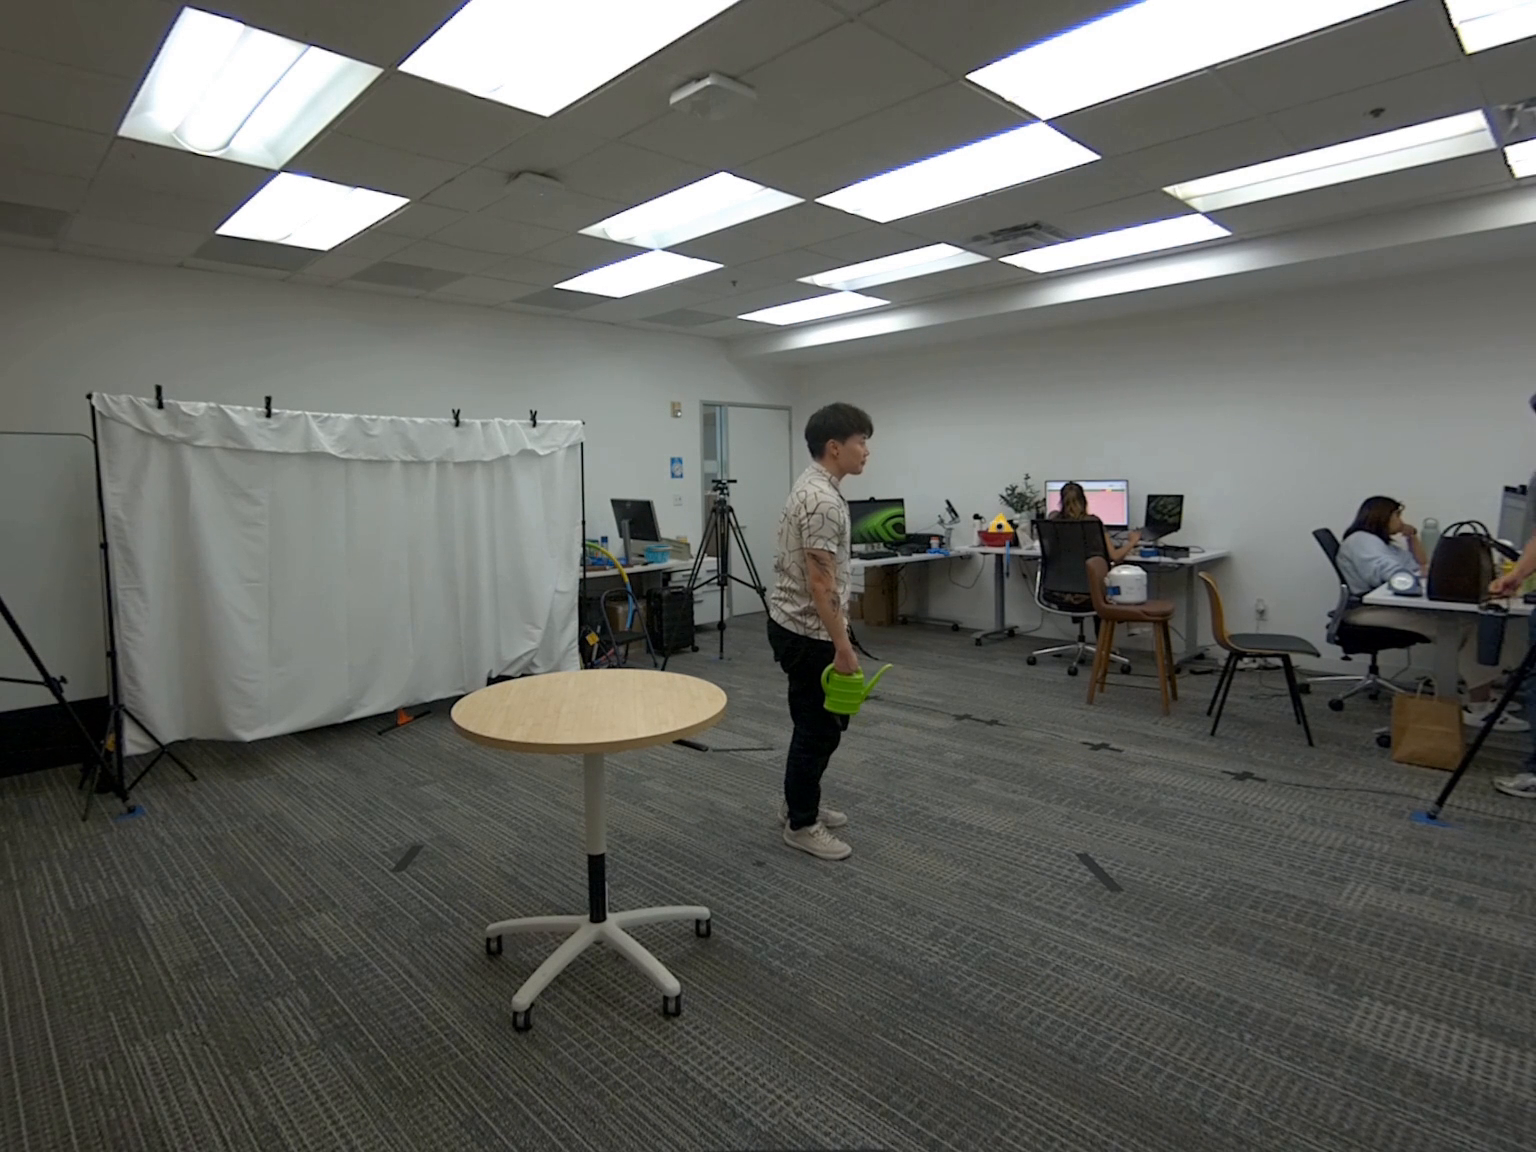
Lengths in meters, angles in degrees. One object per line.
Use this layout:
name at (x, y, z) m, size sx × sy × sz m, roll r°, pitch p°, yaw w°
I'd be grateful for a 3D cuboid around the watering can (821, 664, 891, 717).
watering can at (0.312, 0.397, 3.025) m, size 0.274 × 0.176 × 0.100 m, roll 4°, pitch 5°, yaw -14°
